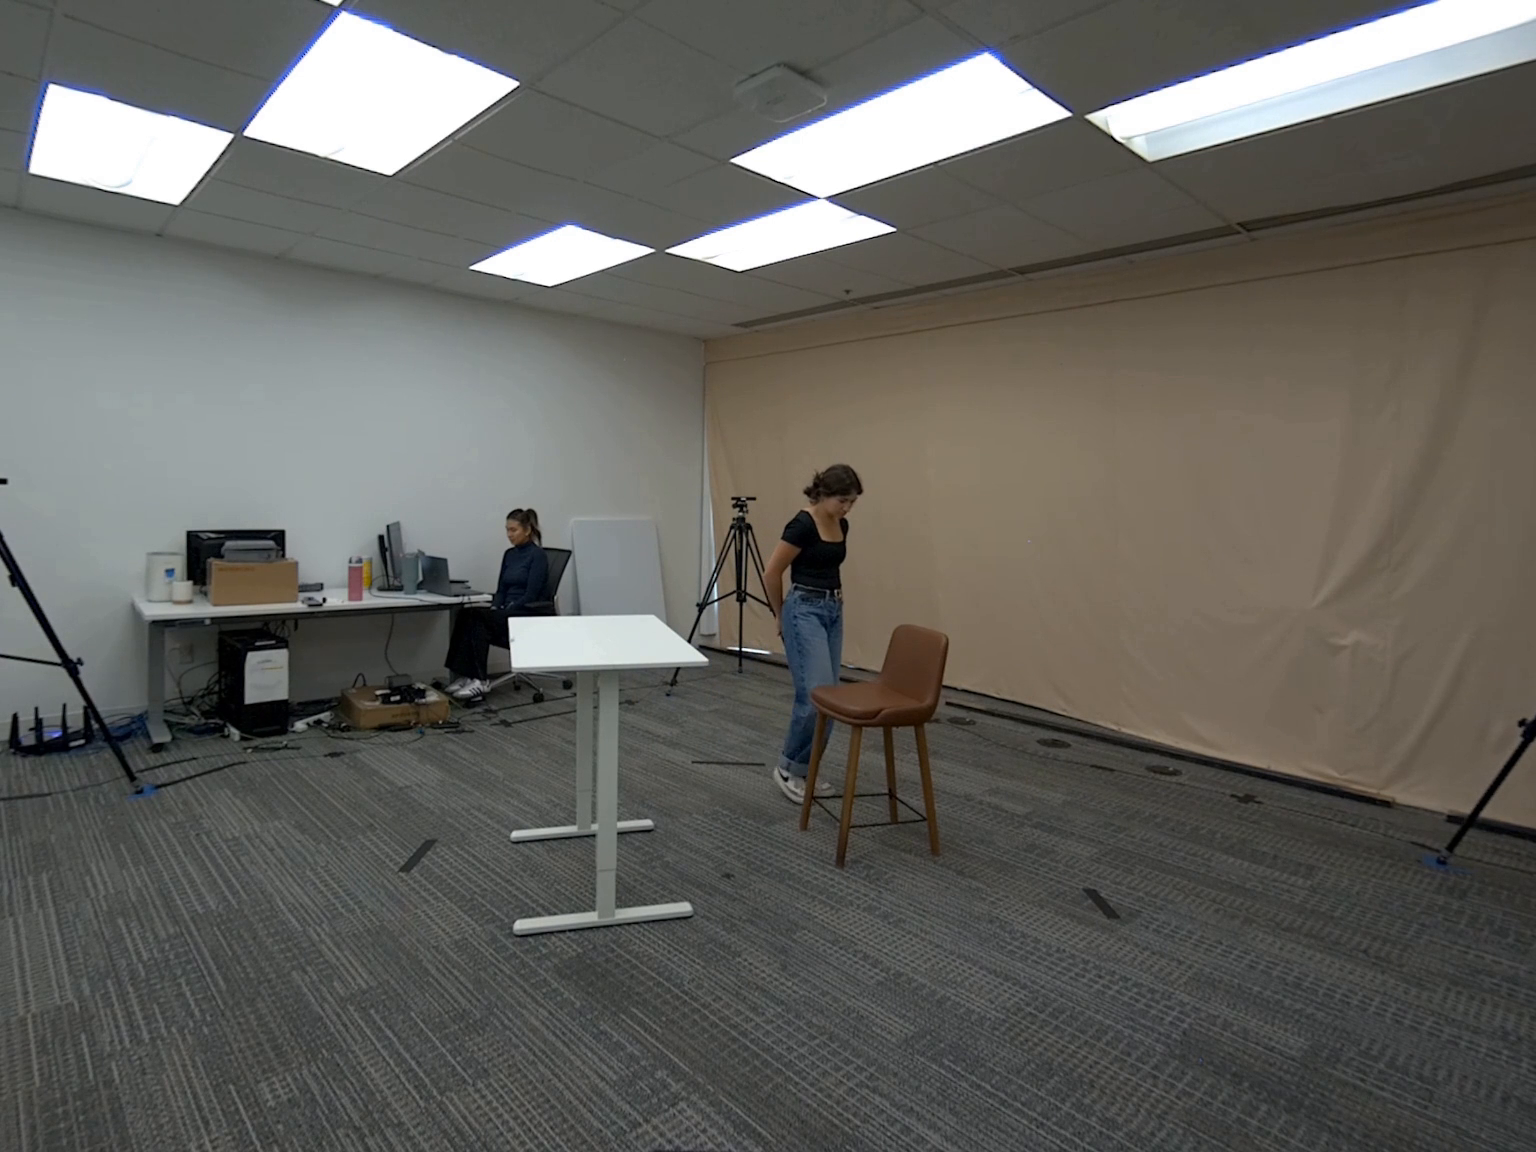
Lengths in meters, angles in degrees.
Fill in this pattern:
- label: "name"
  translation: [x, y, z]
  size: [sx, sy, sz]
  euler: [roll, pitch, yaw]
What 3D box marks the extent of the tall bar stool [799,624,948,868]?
- label: "tall bar stool"
  translation: [0.420, 0.655, 3.427]
  size: [0.461, 0.888, 0.464]
  euler: [2, 2, -19]
